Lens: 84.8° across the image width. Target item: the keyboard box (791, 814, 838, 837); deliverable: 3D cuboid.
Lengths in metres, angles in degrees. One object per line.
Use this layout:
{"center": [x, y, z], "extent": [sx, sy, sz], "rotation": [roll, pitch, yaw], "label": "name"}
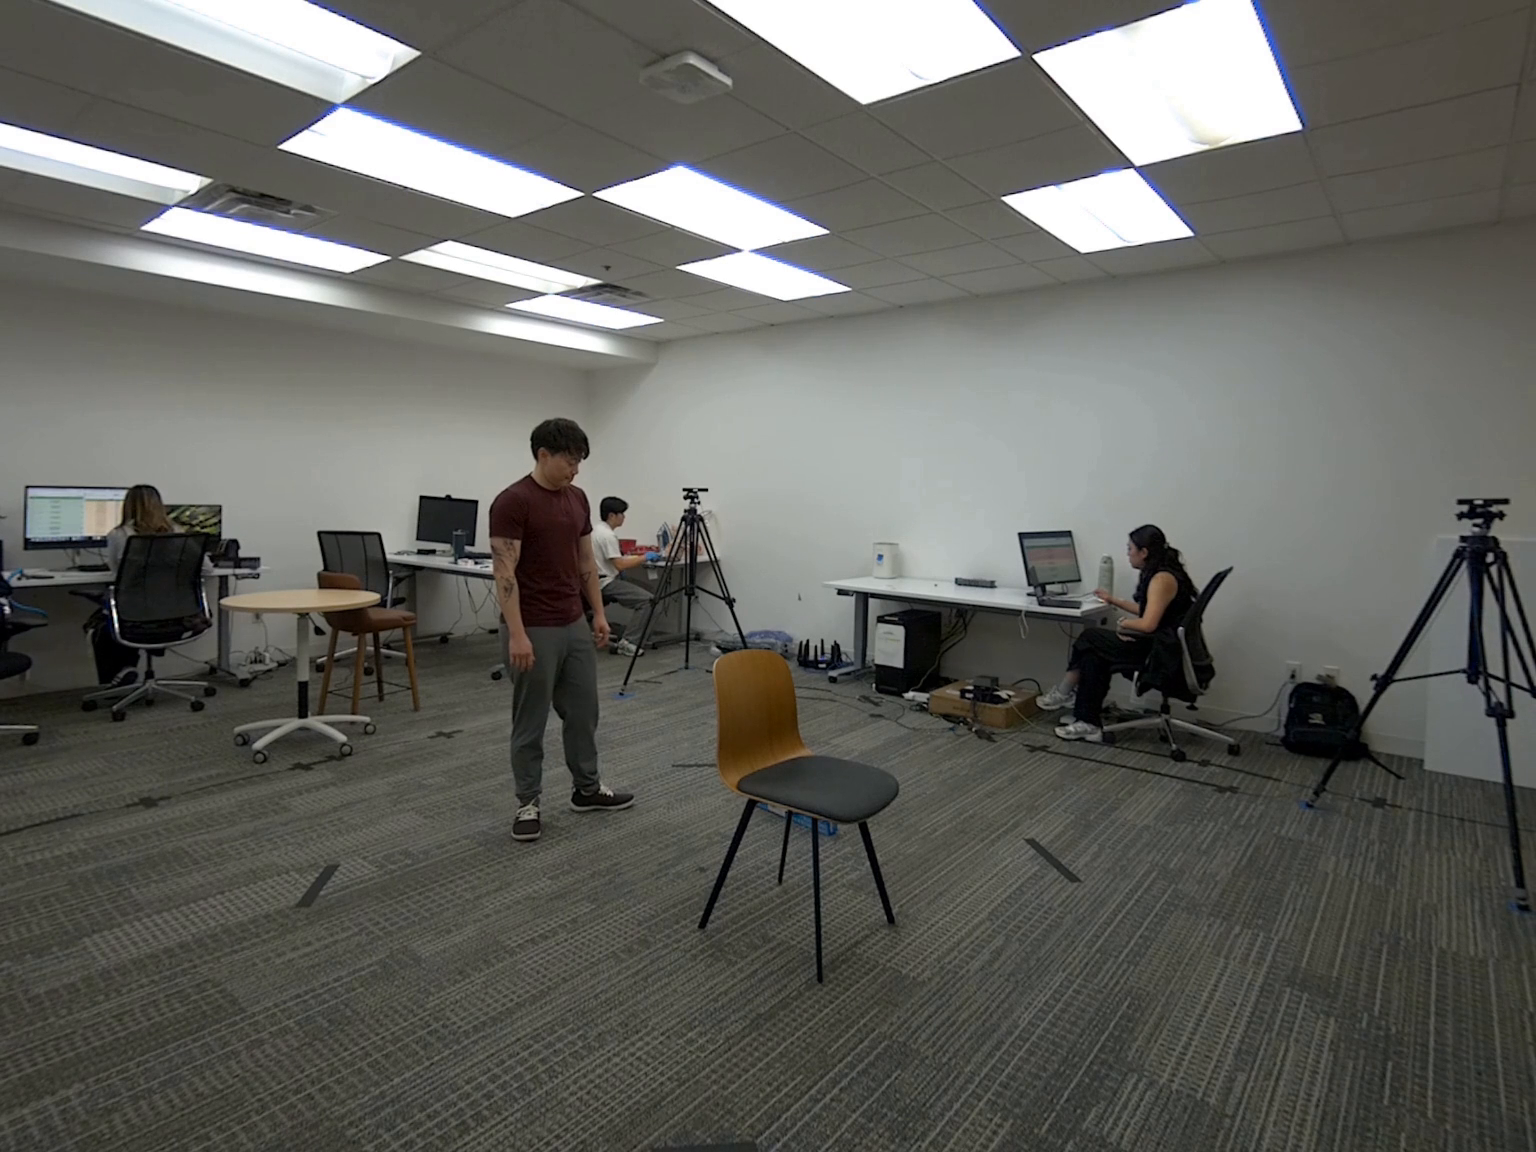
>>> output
{"center": [0.098, 0.936, 3.595], "extent": [0.057, 0.174, 0.452], "rotation": [-10, 11, -42], "label": "keyboard box"}
